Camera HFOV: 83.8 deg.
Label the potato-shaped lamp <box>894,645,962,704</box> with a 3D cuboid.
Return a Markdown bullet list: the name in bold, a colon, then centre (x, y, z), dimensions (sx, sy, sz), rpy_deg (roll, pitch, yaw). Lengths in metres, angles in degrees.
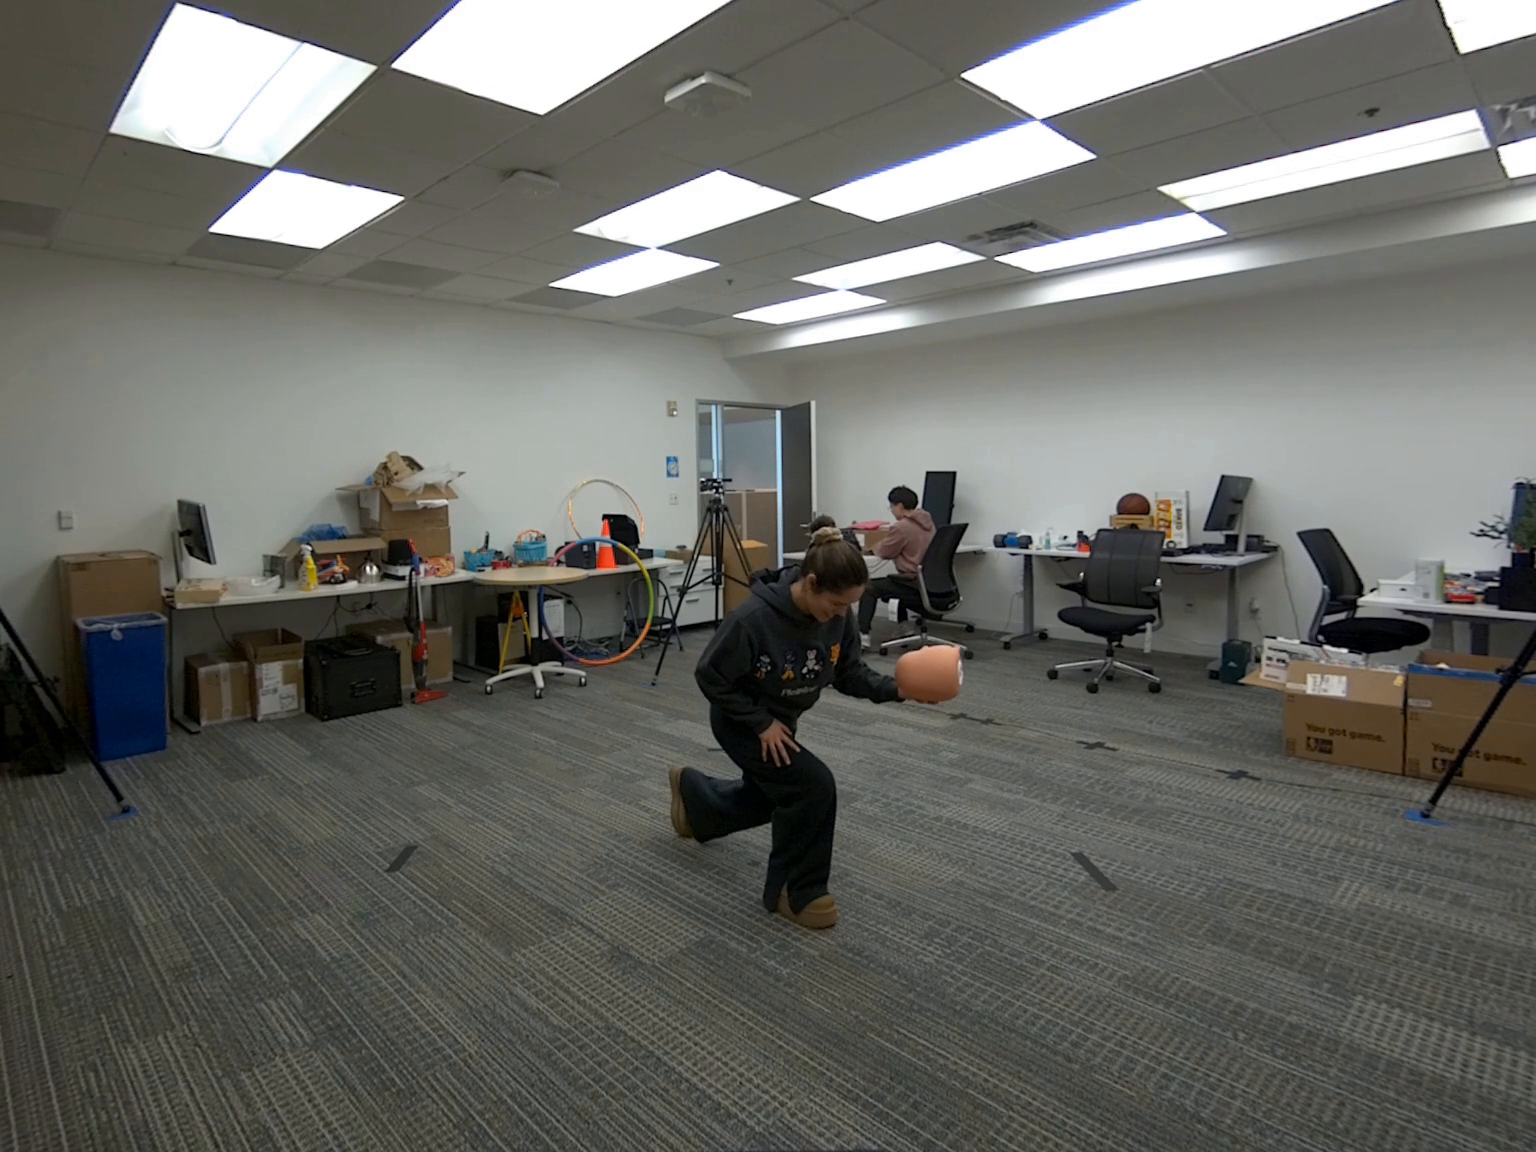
- **potato-shaped lamp**: centre (0.485, 0.294, 2.601), dimensions (0.202, 0.159, 0.173), rpy_deg (1, 38, 22)
